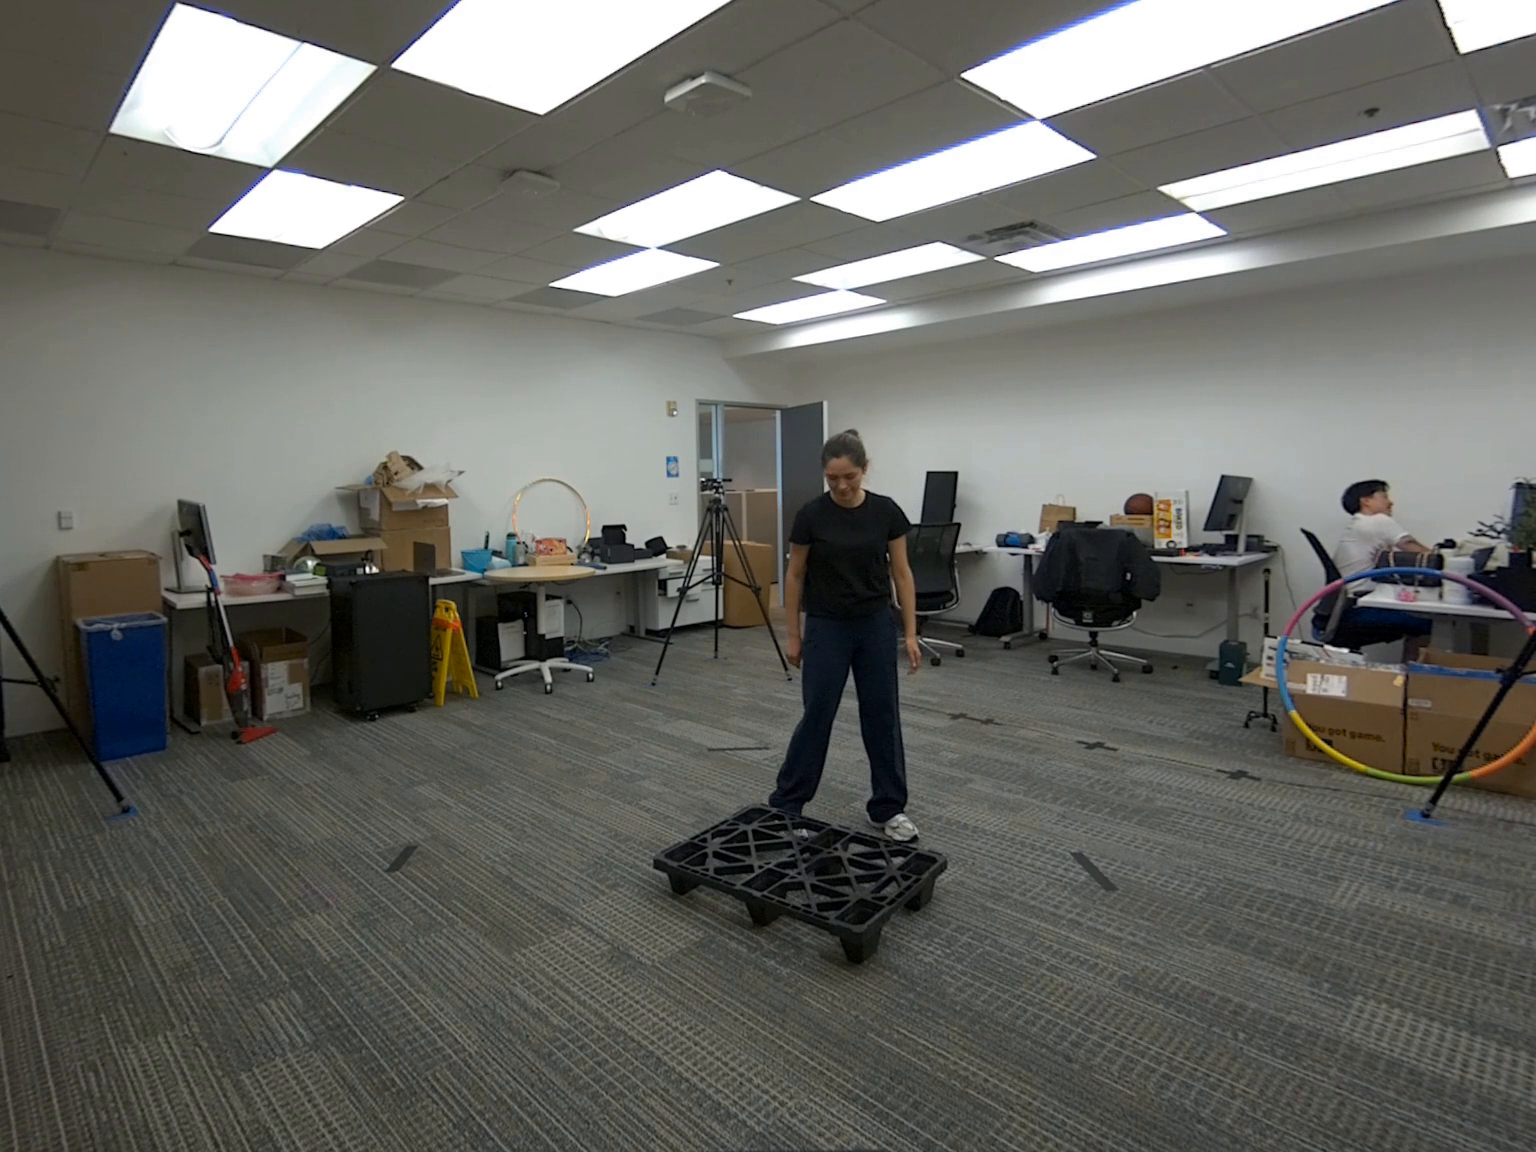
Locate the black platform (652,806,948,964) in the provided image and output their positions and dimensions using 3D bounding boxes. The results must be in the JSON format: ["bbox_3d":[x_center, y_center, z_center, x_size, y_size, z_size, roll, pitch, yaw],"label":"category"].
[{"bbox_3d":[0.102,1.003,2.872,0.829,0.143,0.590,4,7,37],"label":"black platform"}]
